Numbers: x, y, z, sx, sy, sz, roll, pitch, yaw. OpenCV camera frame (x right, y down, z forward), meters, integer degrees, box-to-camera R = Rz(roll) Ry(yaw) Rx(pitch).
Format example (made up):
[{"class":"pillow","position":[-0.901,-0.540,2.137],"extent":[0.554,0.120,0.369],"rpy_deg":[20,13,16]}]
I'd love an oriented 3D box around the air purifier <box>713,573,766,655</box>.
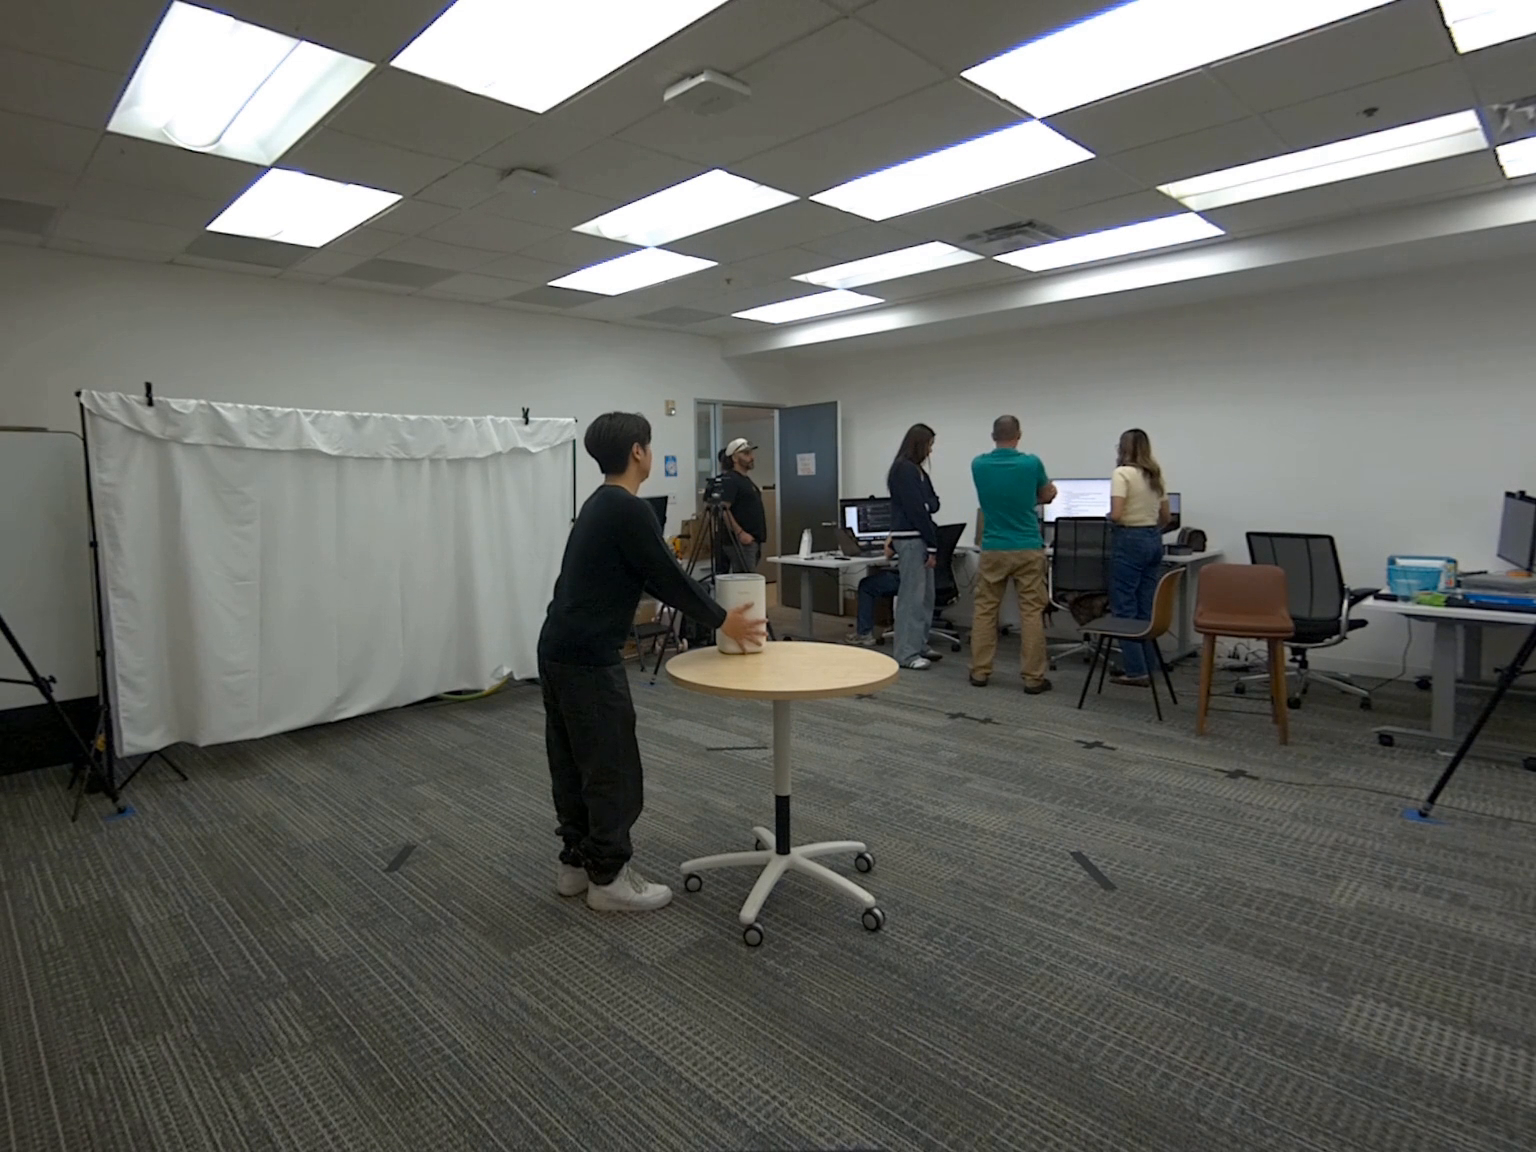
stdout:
[{"class":"air purifier","position":[-0.100,0.132,3.039],"extent":[0.170,0.264,0.173],"rpy_deg":[-4,5,-4]}]
